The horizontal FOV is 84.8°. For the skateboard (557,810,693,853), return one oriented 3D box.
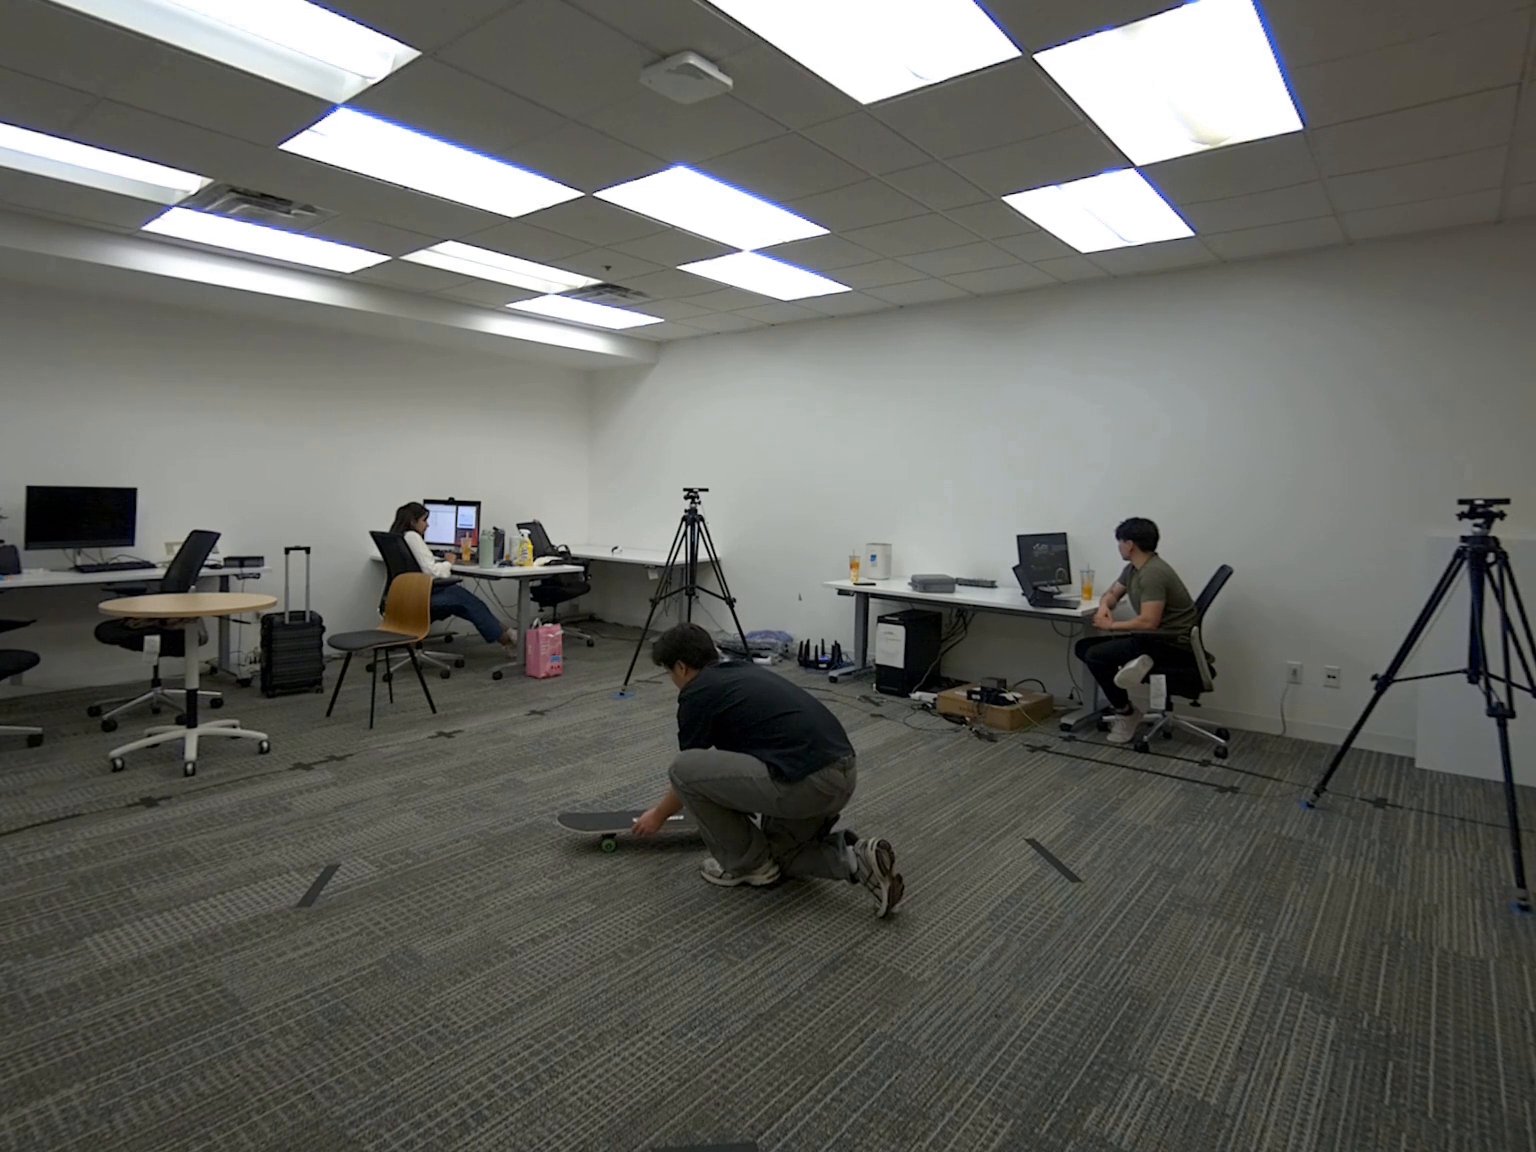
[{"bbox_3d":[-0.442,0.982,3.353,0.776,0.110,0.196,0,5,-11],"label":"skateboard"}]
